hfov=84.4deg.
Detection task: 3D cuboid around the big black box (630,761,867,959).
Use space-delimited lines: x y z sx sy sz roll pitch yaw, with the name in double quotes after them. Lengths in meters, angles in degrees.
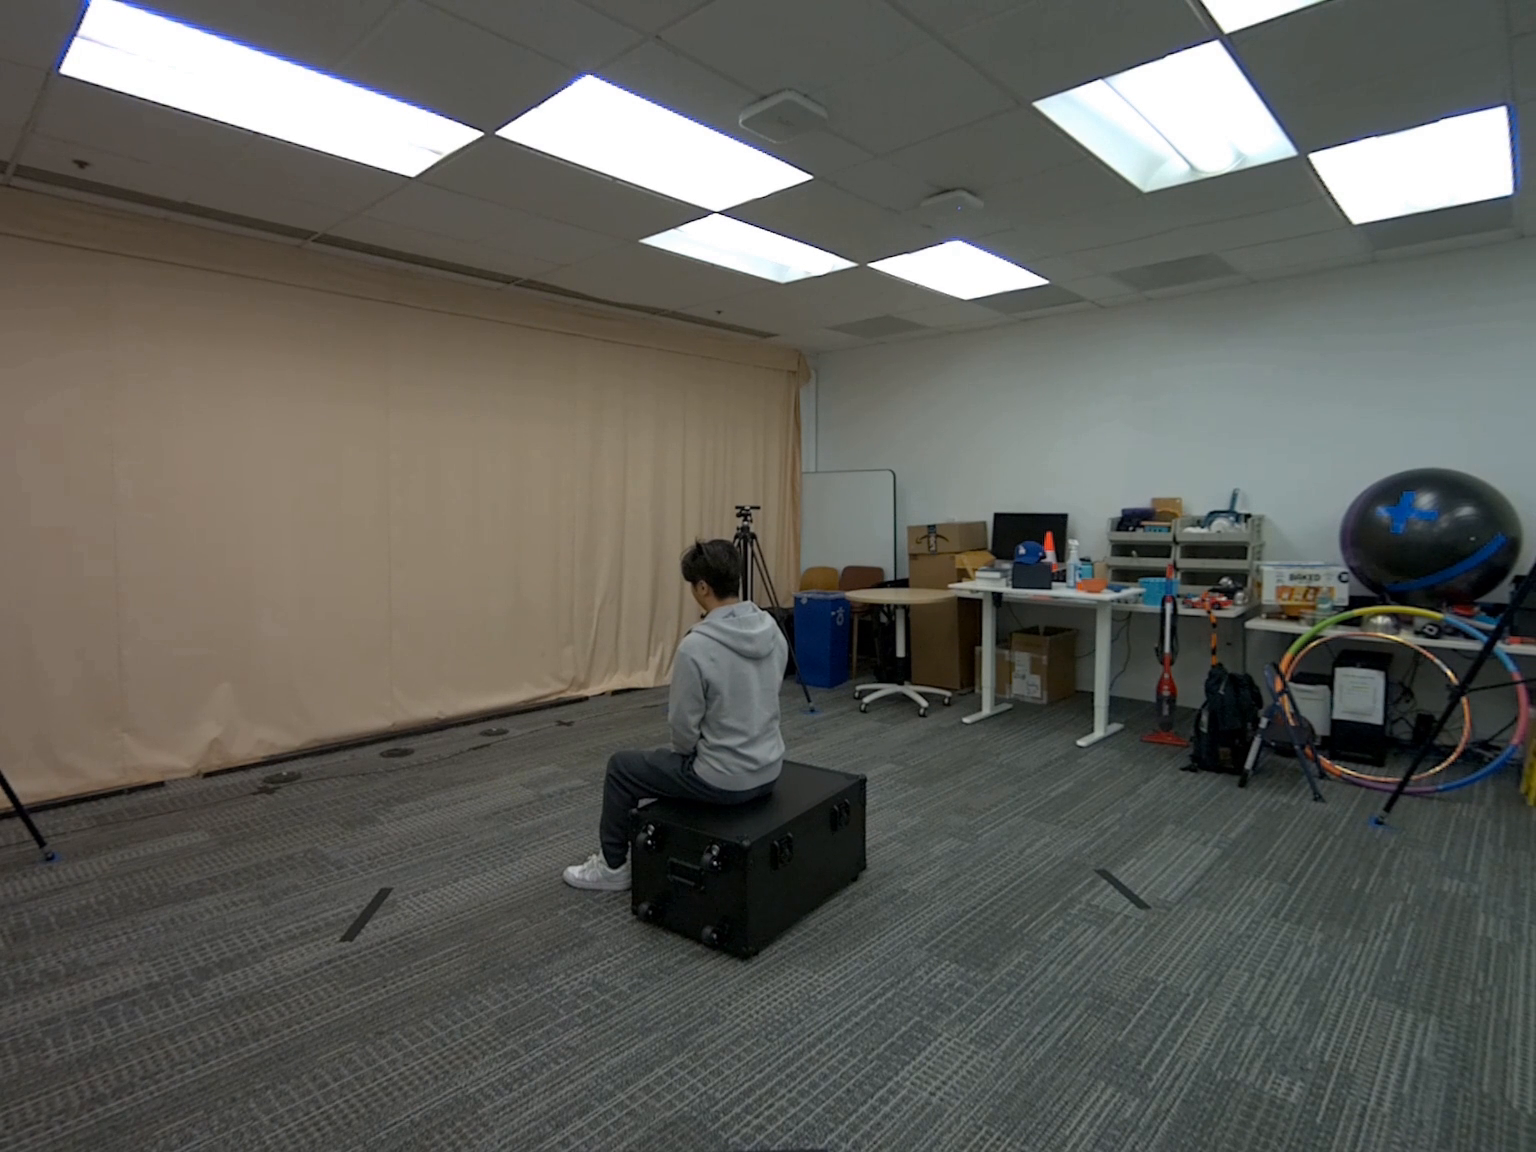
-0.018 0.959 3.009 0.538 0.395 0.836 3 6 36 "big black box"
